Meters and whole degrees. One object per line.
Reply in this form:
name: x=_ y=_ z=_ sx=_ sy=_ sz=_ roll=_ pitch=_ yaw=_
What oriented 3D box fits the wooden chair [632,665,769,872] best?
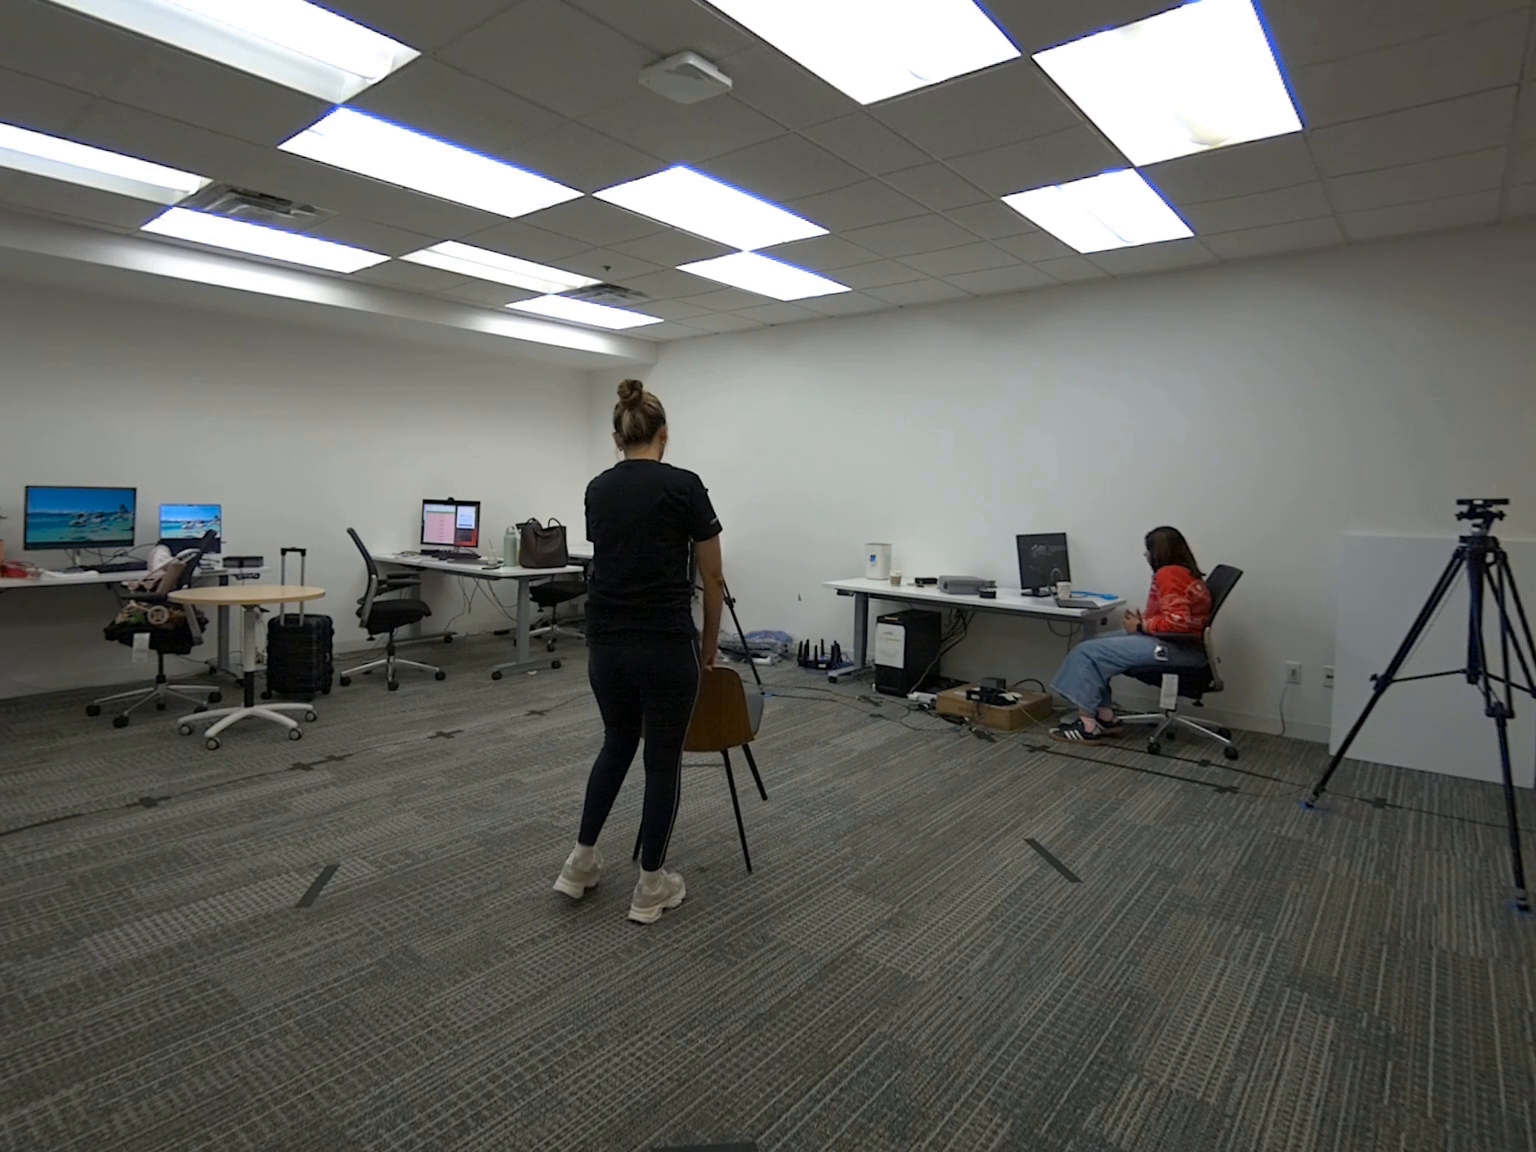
wooden chair: x=-0.268 y=0.587 z=3.224 sx=0.484 sy=0.860 sz=0.528 roll=2 pitch=22 yaw=9
